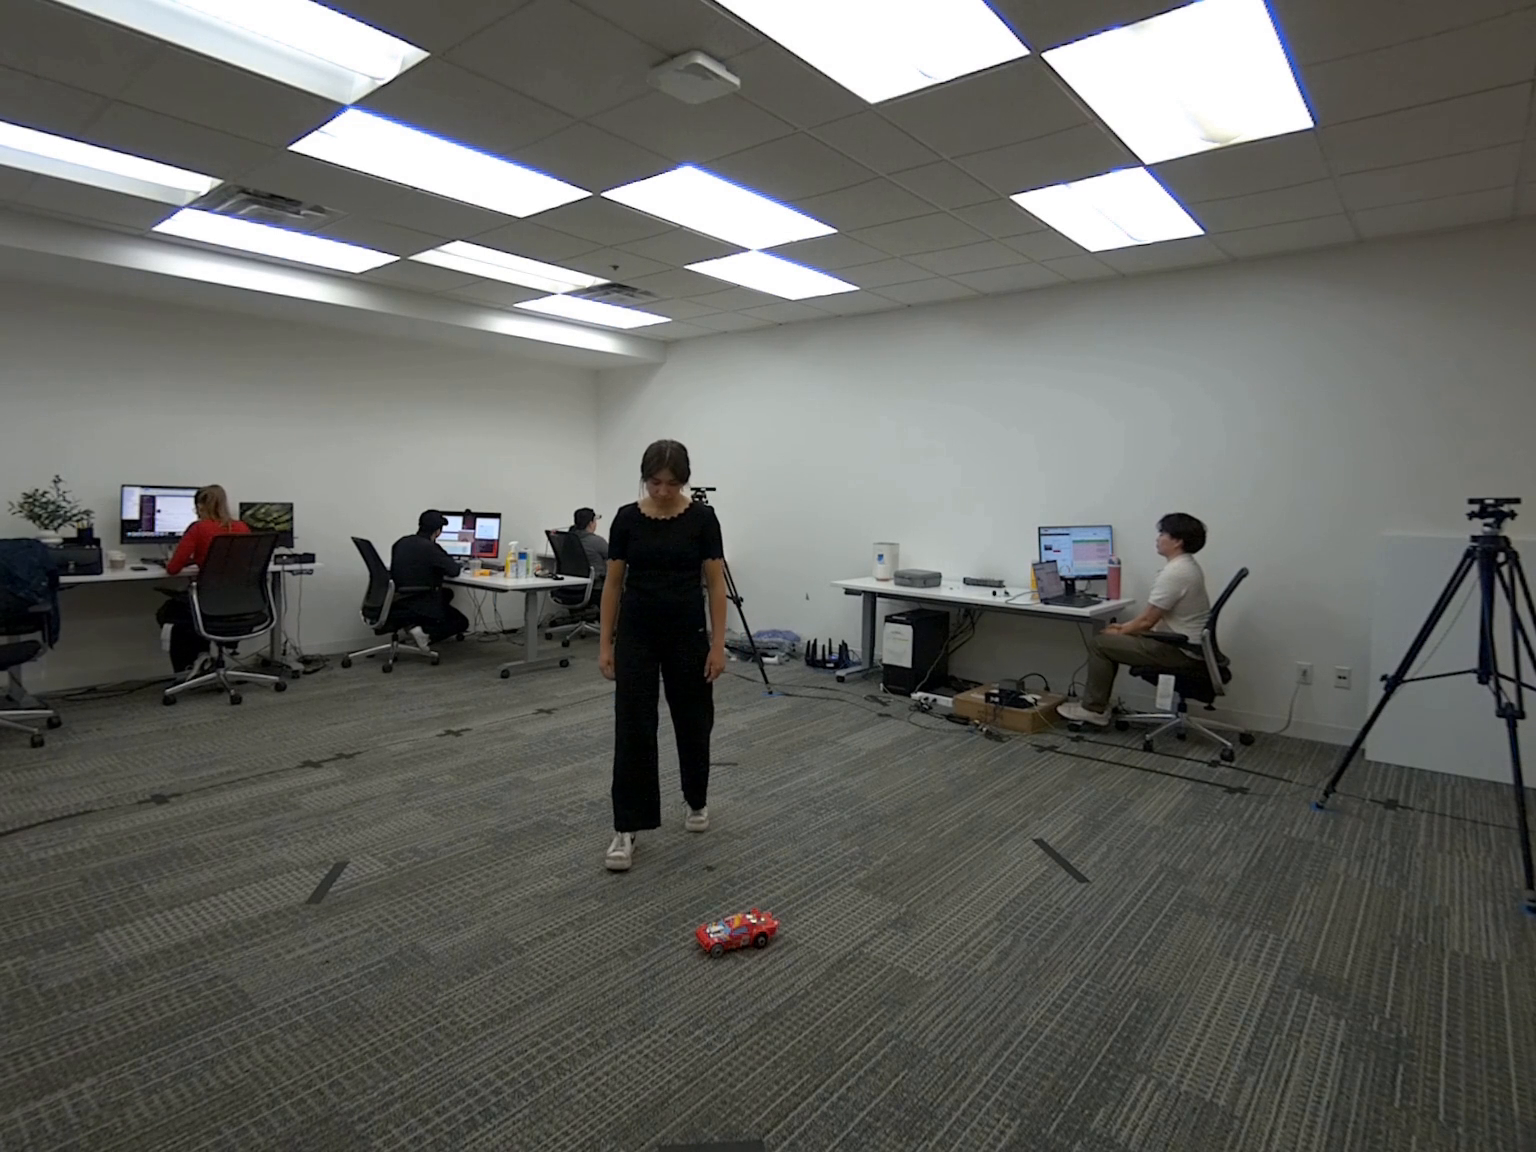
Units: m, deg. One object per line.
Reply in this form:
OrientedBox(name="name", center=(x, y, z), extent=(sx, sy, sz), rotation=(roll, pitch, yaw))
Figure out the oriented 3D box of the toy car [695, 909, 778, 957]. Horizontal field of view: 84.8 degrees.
OrientedBox(name="toy car", center=(-0.094, 1.086, 2.596), extent=(0.250, 0.082, 0.134), rotation=(-14, 12, -23))
